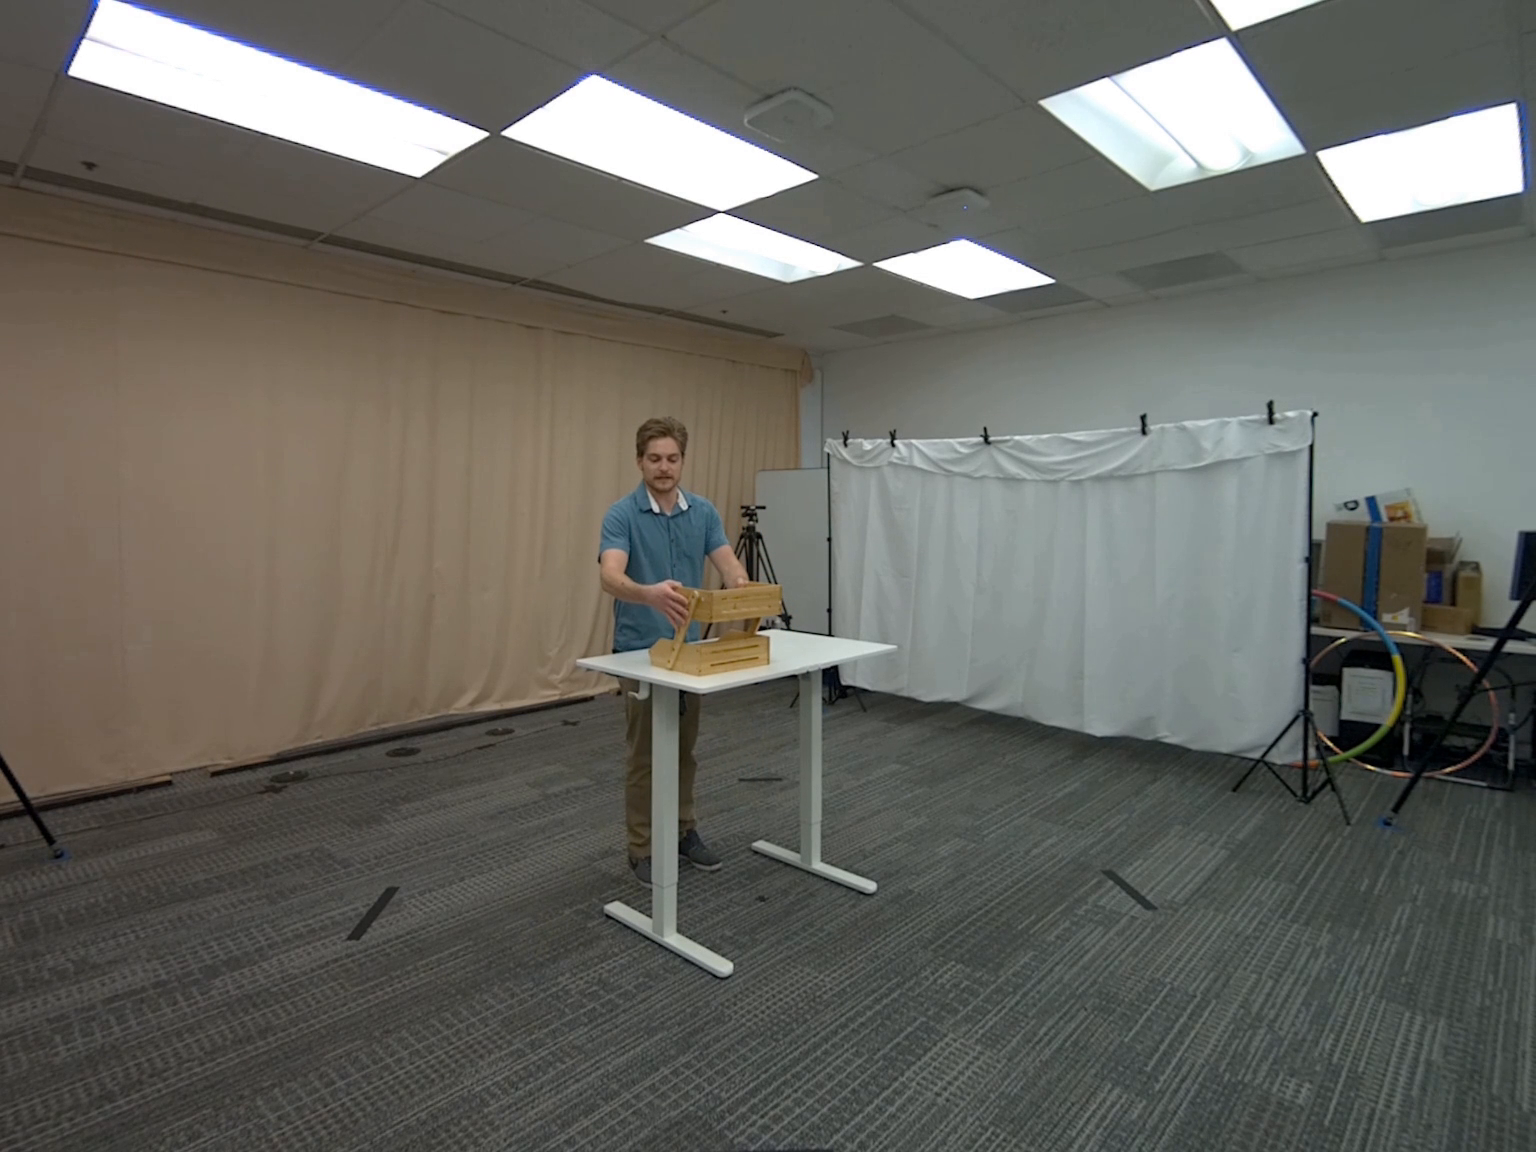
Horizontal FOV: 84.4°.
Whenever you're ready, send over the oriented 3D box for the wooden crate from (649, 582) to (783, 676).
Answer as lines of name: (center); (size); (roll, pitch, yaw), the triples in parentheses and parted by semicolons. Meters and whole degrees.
wooden crate: (-0.165, 0.155, 2.675); (0.314, 0.272, 0.312); (-3, 6, -43)
